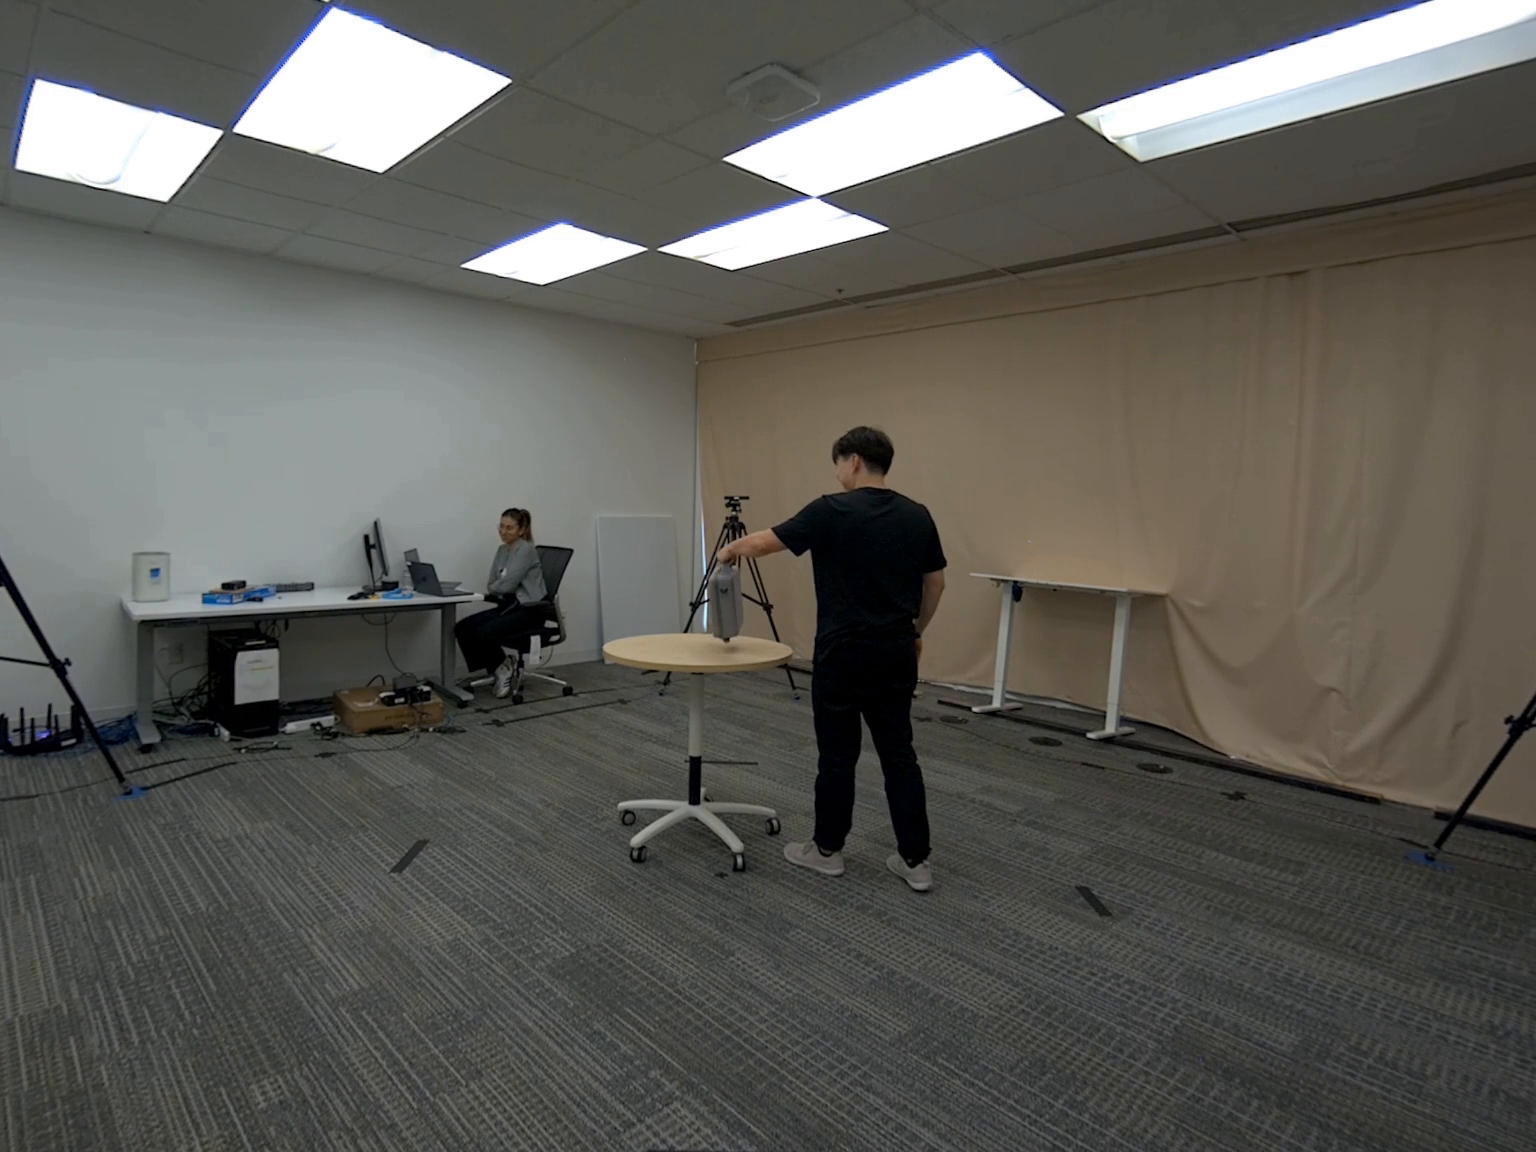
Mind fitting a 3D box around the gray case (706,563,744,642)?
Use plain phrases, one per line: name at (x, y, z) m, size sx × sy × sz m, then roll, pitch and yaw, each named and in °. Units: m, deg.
gray case at (-0.163, 0.093, 3.378) m, size 0.105 × 0.258 × 0.258 m, roll -3°, pitch 11°, yaw 5°
